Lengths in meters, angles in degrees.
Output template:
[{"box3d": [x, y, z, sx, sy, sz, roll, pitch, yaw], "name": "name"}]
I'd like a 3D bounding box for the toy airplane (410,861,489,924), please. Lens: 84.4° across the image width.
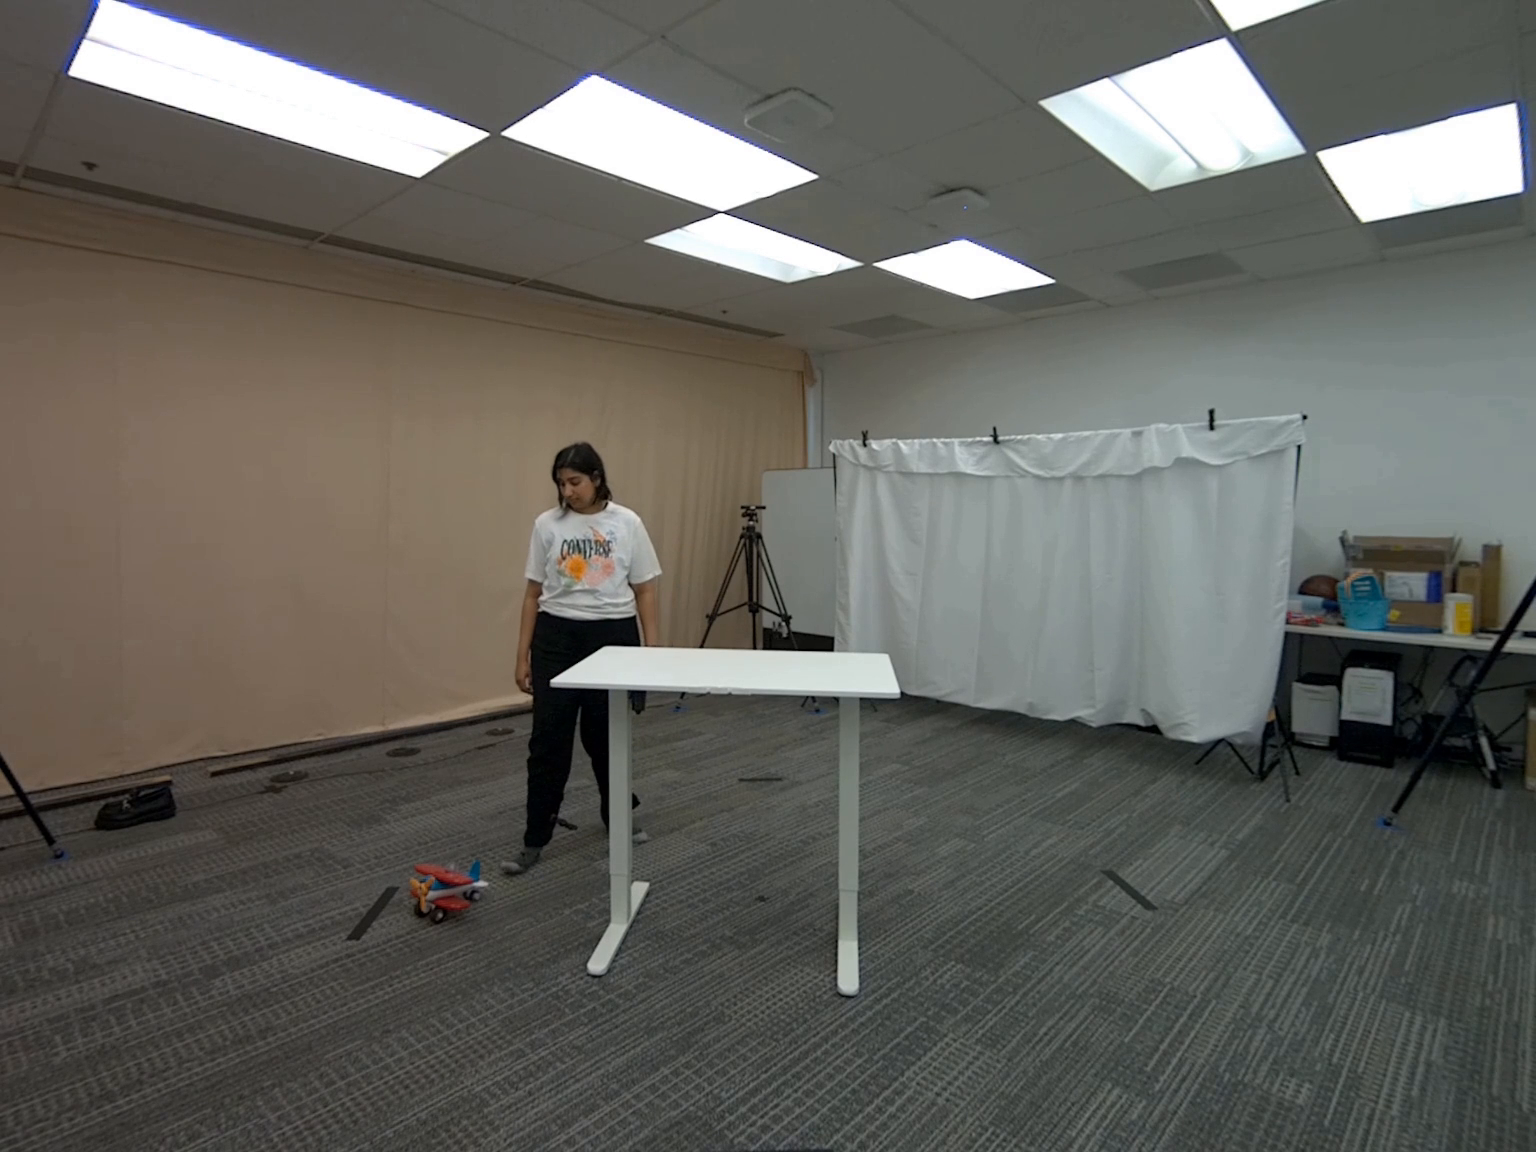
[{"box3d": [-1.129, 1.086, 2.922, 0.252, 0.156, 0.259, -1, 5, 4], "name": "toy airplane"}]
